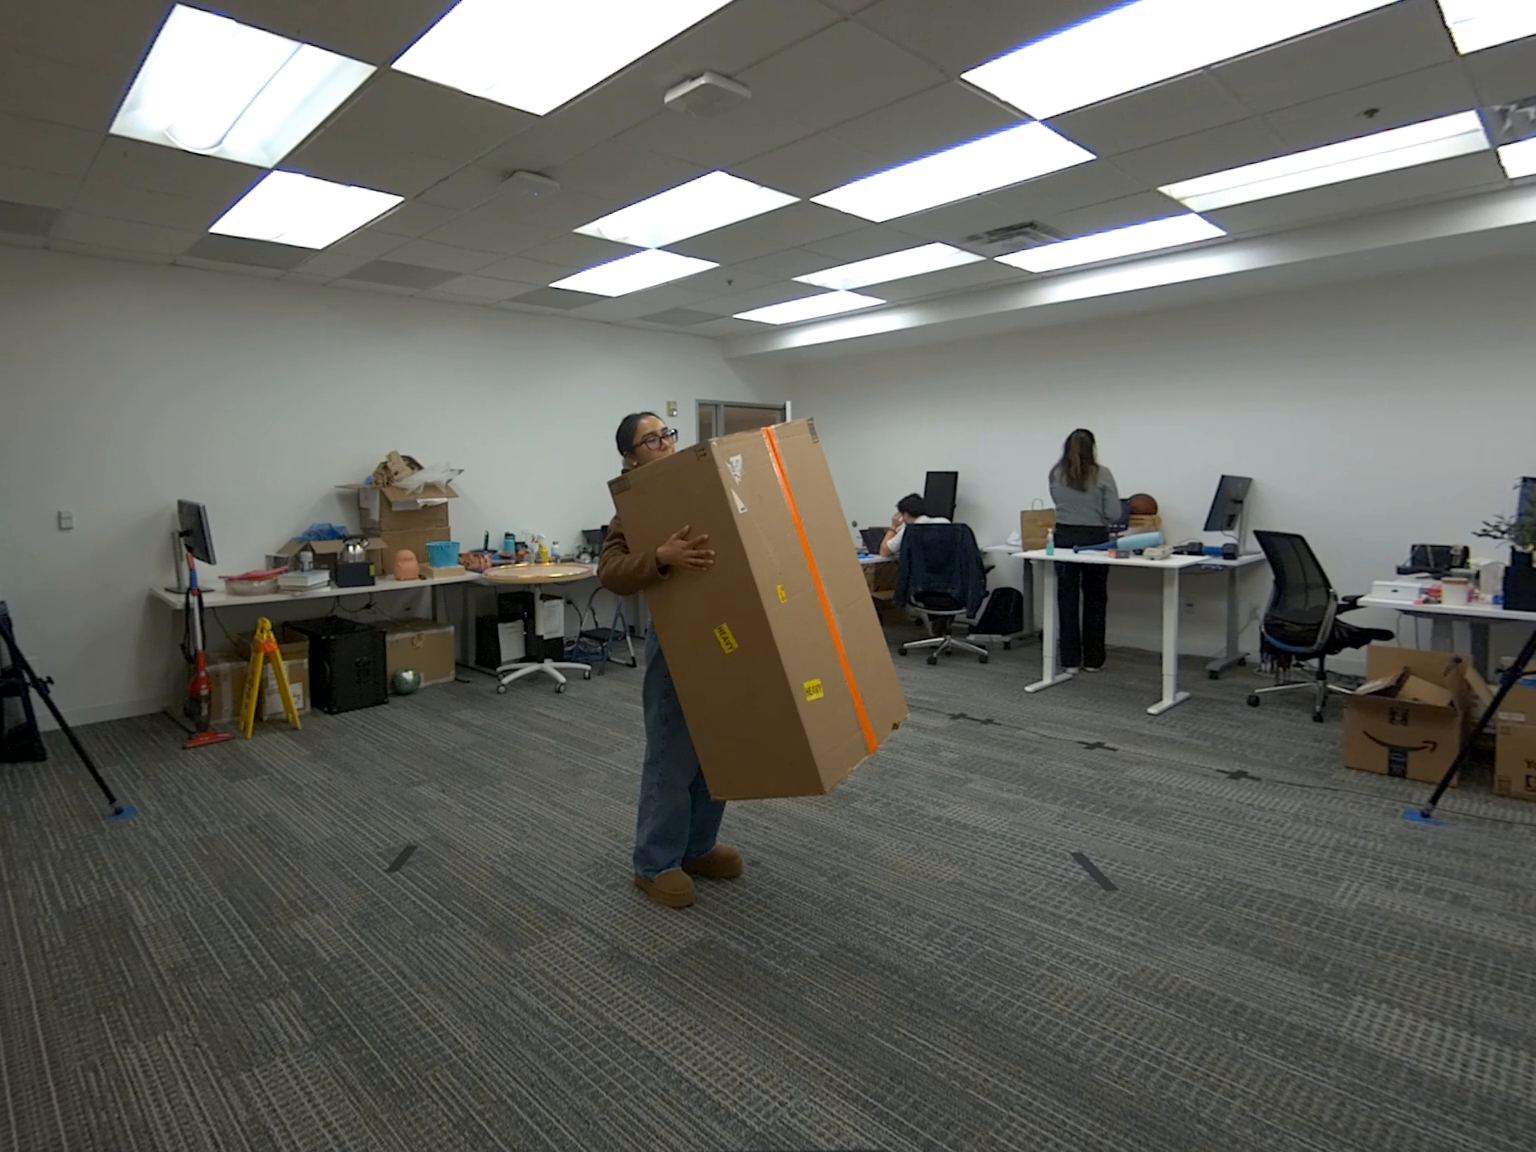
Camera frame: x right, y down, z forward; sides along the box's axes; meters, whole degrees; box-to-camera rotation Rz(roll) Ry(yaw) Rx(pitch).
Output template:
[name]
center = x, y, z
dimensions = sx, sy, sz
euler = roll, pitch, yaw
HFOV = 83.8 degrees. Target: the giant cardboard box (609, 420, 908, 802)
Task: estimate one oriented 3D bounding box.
[giant cardboard box]
center = -0.004, 0.086, 2.668
dimensions = 0.434, 1.024, 0.567
euler = -17, 2, 38
